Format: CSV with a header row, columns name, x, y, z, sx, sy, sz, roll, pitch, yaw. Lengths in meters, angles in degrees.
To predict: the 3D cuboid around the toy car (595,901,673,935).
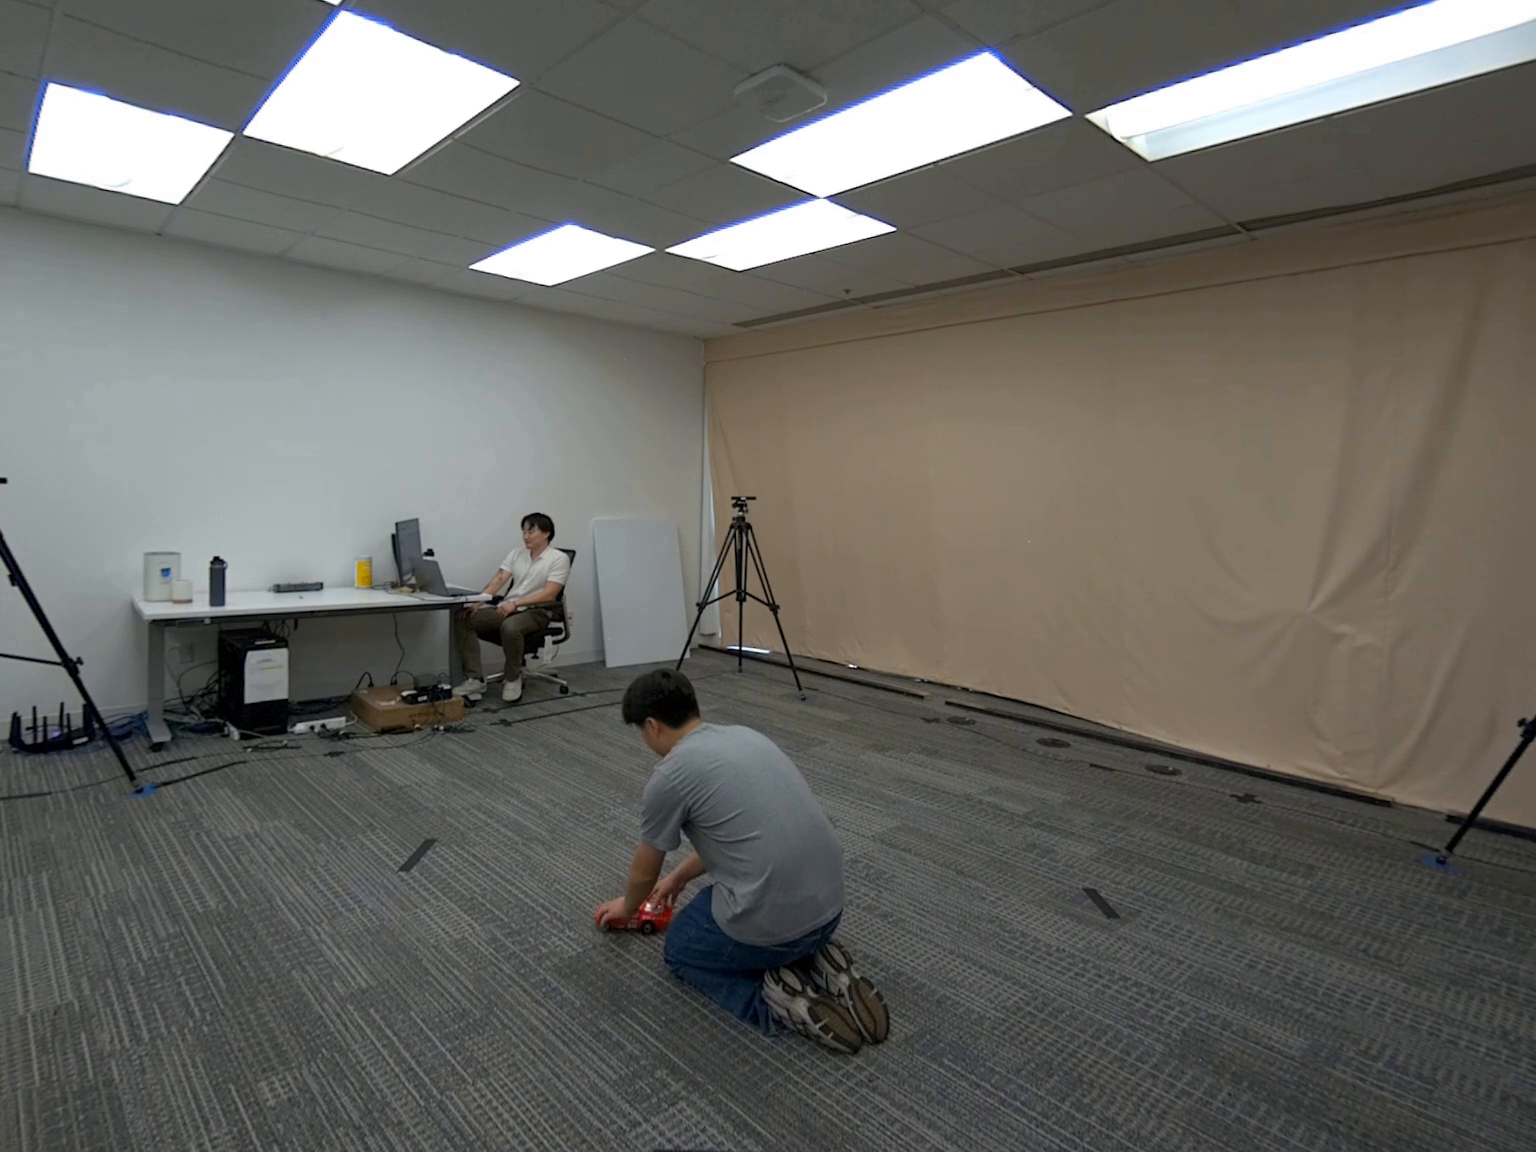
name,x,y,z,sx,sy,sz,roll,pitch,yaw
toy car,-0.432,1.104,2.720,0.256,0.083,0.130,-11,4,6
